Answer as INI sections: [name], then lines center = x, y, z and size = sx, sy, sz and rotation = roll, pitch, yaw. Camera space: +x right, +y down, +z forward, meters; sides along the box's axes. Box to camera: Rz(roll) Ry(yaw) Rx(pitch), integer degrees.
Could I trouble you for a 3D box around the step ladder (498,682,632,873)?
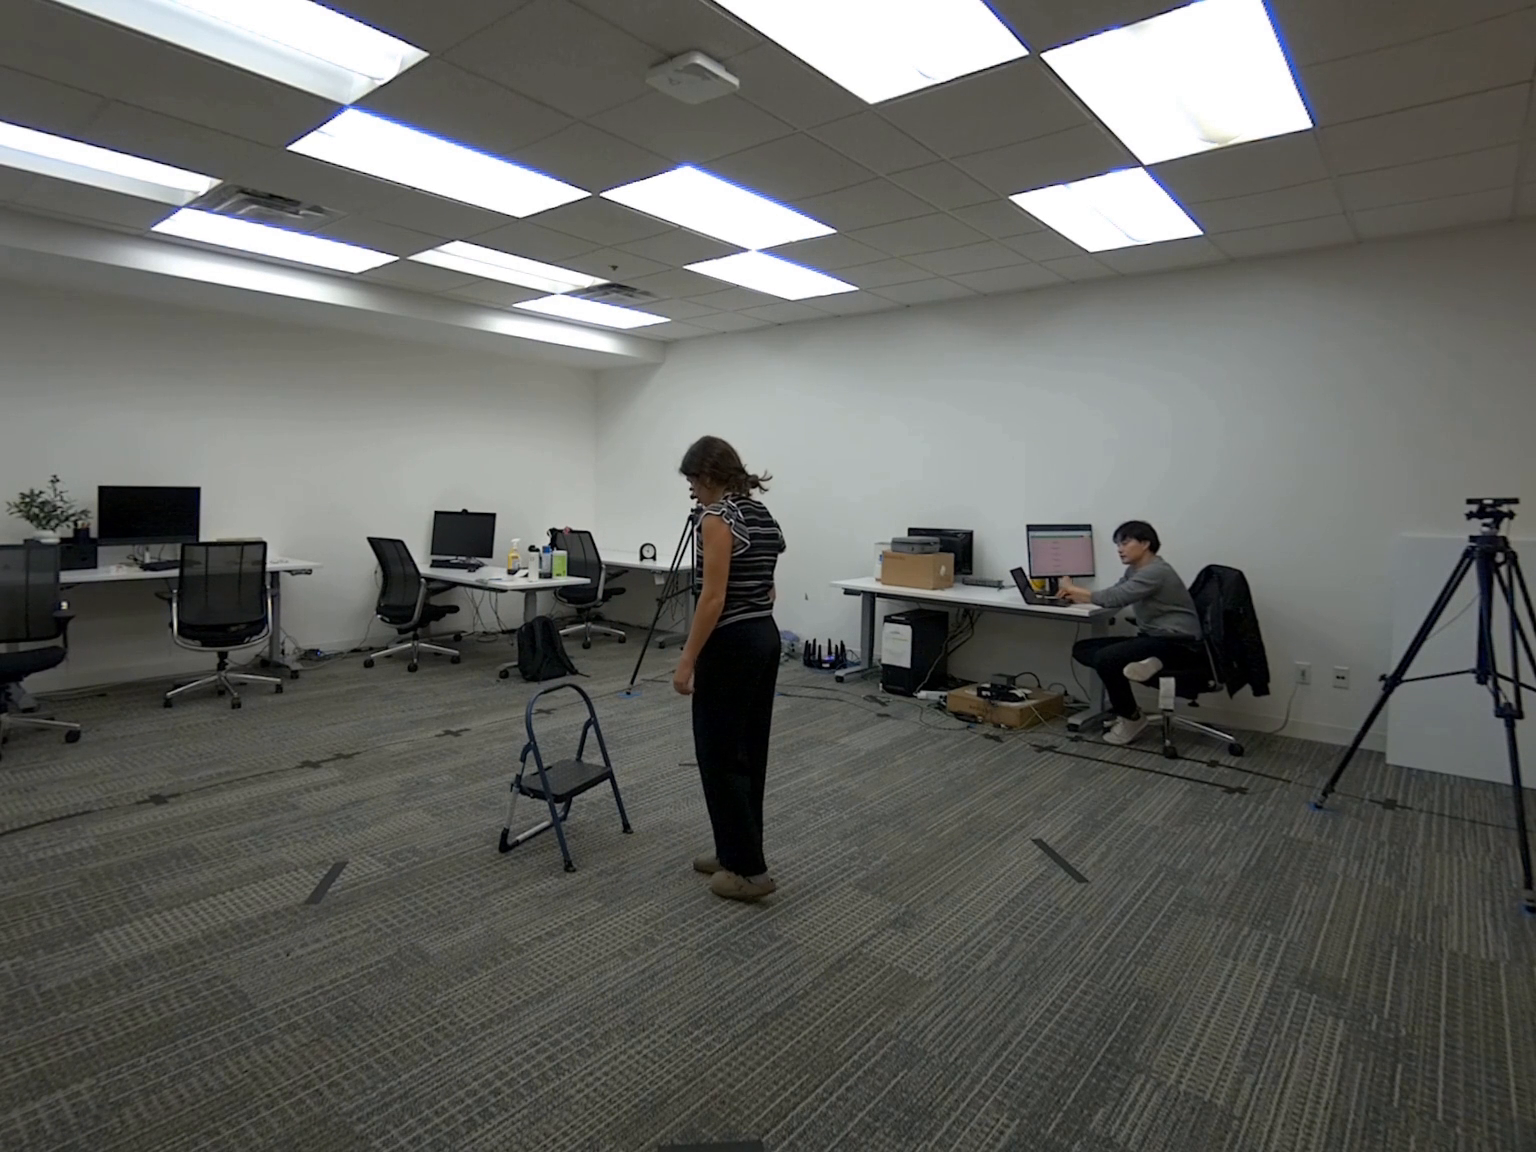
[step ladder]
center = -0.789, 0.735, 3.310
size = 0.358, 0.604, 0.421
rotation = 3, 4, 24
